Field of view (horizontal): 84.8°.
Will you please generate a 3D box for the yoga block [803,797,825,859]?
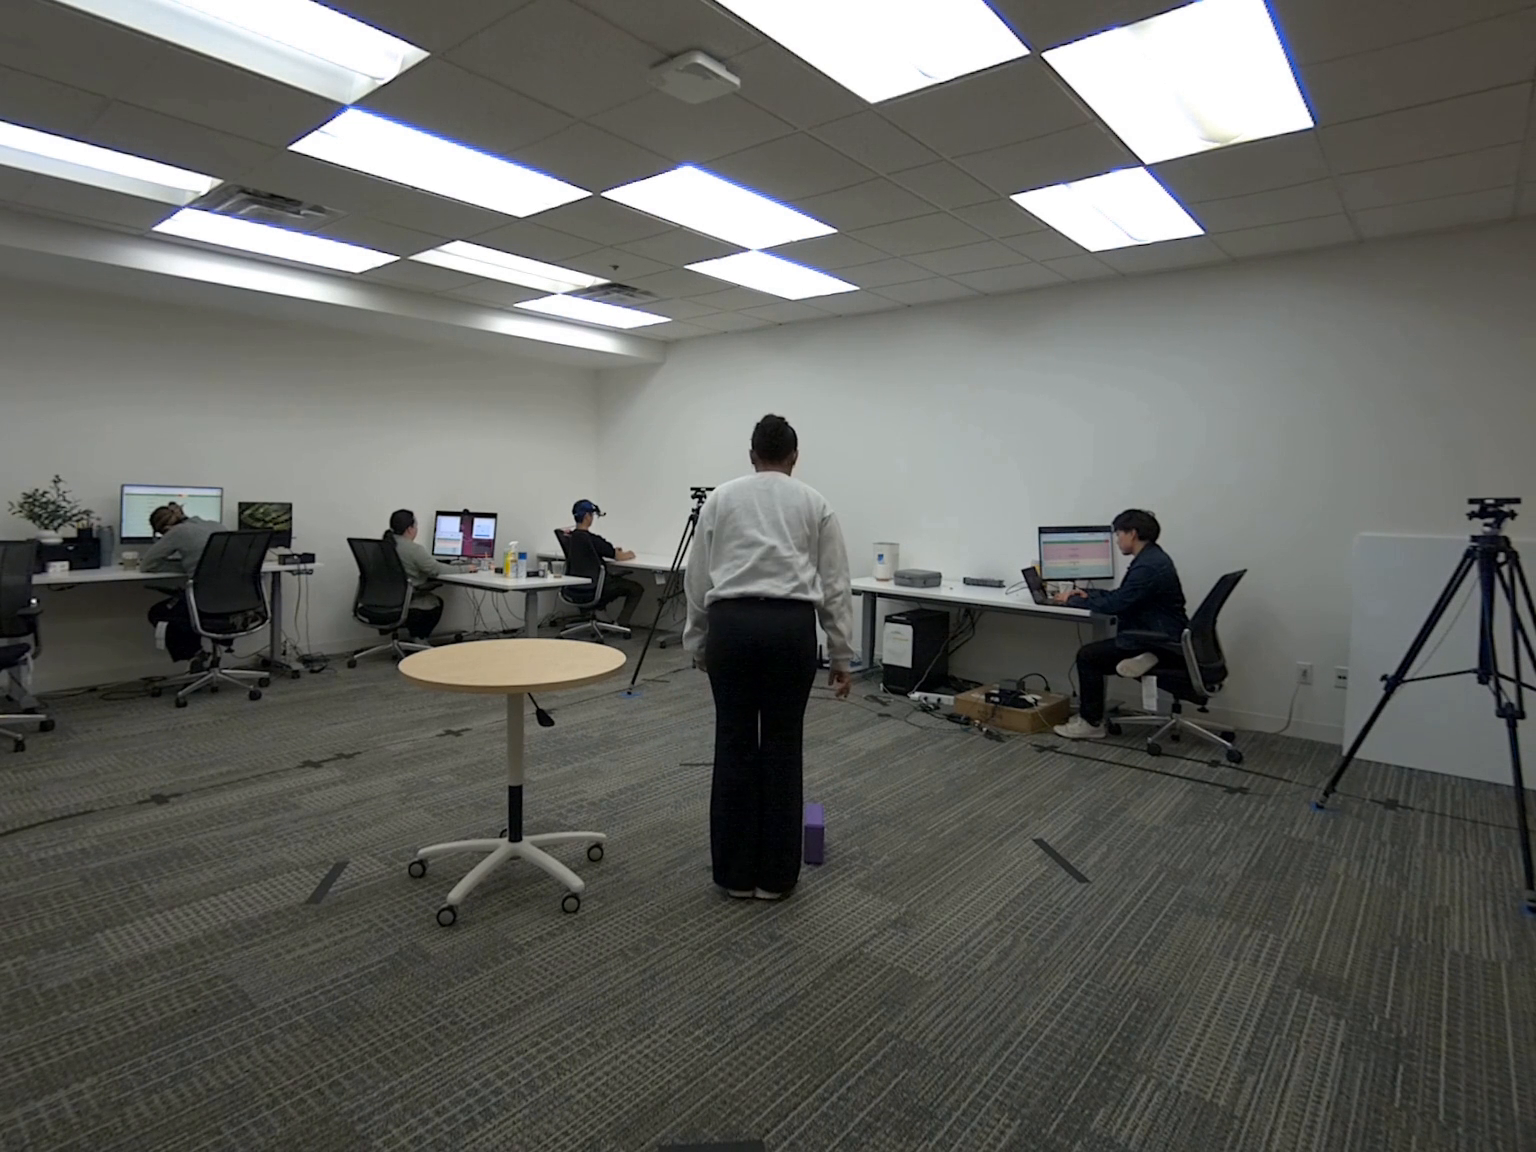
[{"bbox_3d":[0.171,0.973,3.267,0.076,0.149,0.229,2,3,1],"label":"yoga block"}]
